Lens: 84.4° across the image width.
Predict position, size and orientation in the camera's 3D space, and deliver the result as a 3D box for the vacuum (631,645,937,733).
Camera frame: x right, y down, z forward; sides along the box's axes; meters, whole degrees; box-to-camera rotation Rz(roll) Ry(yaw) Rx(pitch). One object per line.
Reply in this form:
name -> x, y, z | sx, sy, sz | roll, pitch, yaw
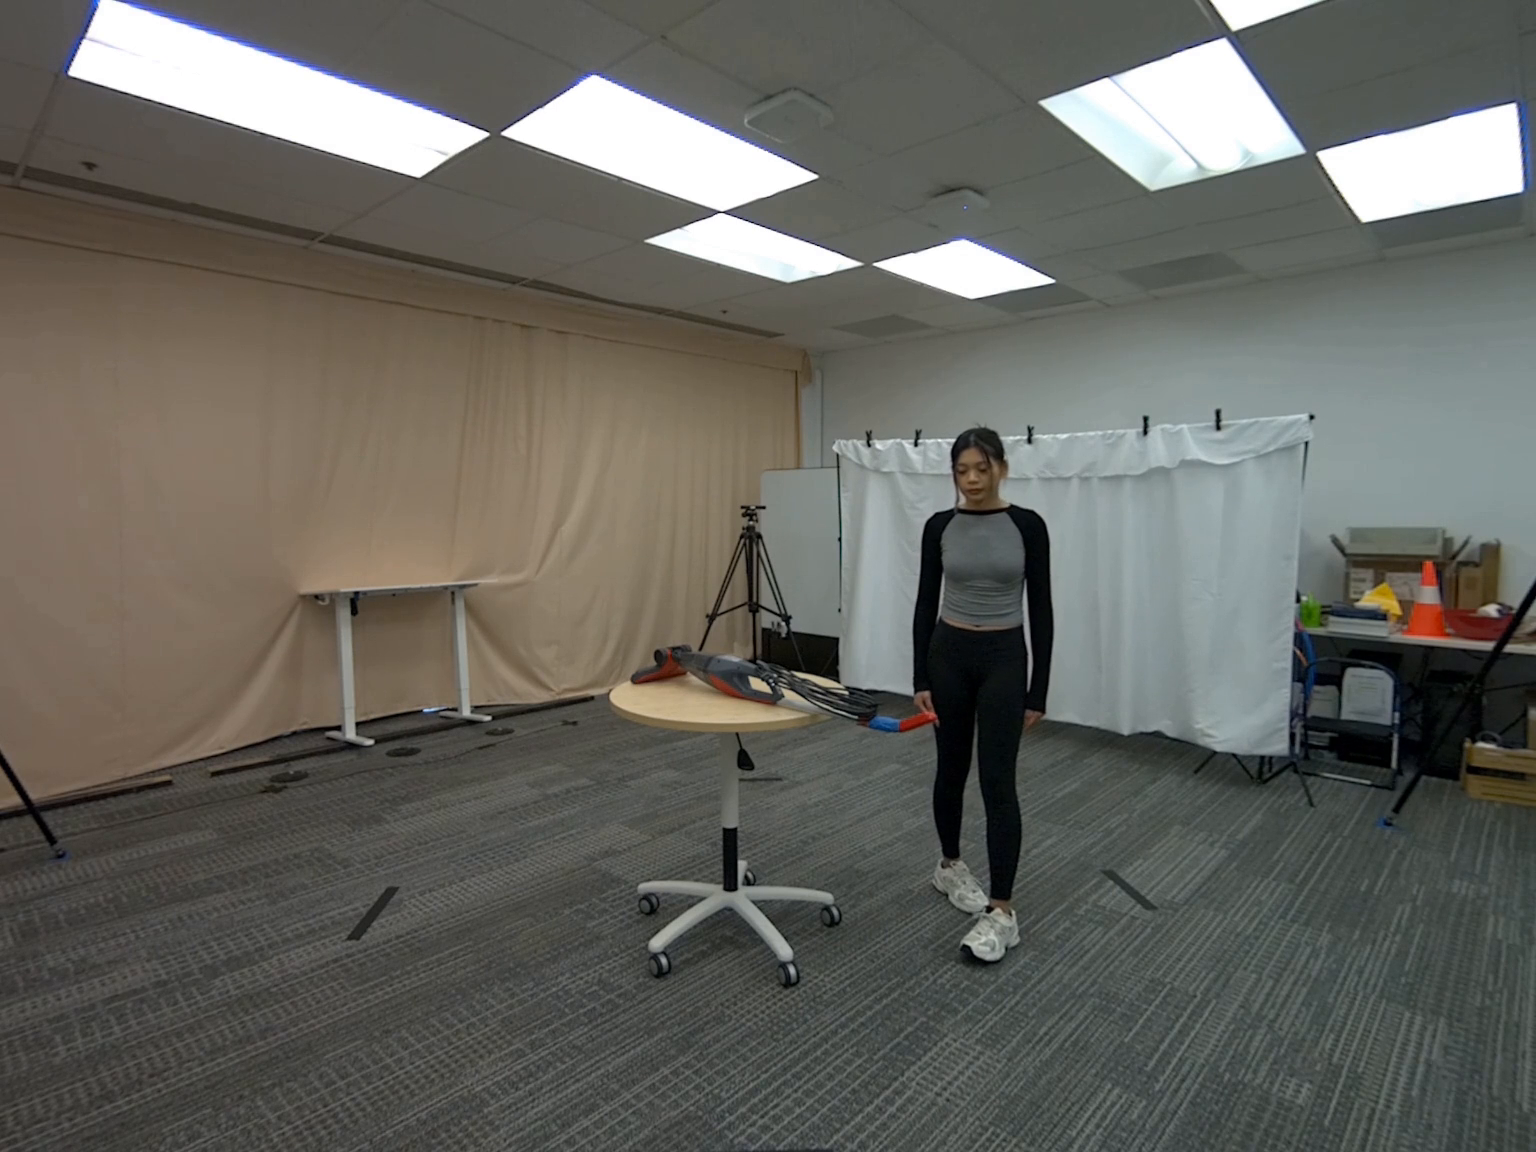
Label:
vacuum -> 0.025, 0.342, 2.514 | 1.084, 0.143, 0.245 | 4, 7, 44
